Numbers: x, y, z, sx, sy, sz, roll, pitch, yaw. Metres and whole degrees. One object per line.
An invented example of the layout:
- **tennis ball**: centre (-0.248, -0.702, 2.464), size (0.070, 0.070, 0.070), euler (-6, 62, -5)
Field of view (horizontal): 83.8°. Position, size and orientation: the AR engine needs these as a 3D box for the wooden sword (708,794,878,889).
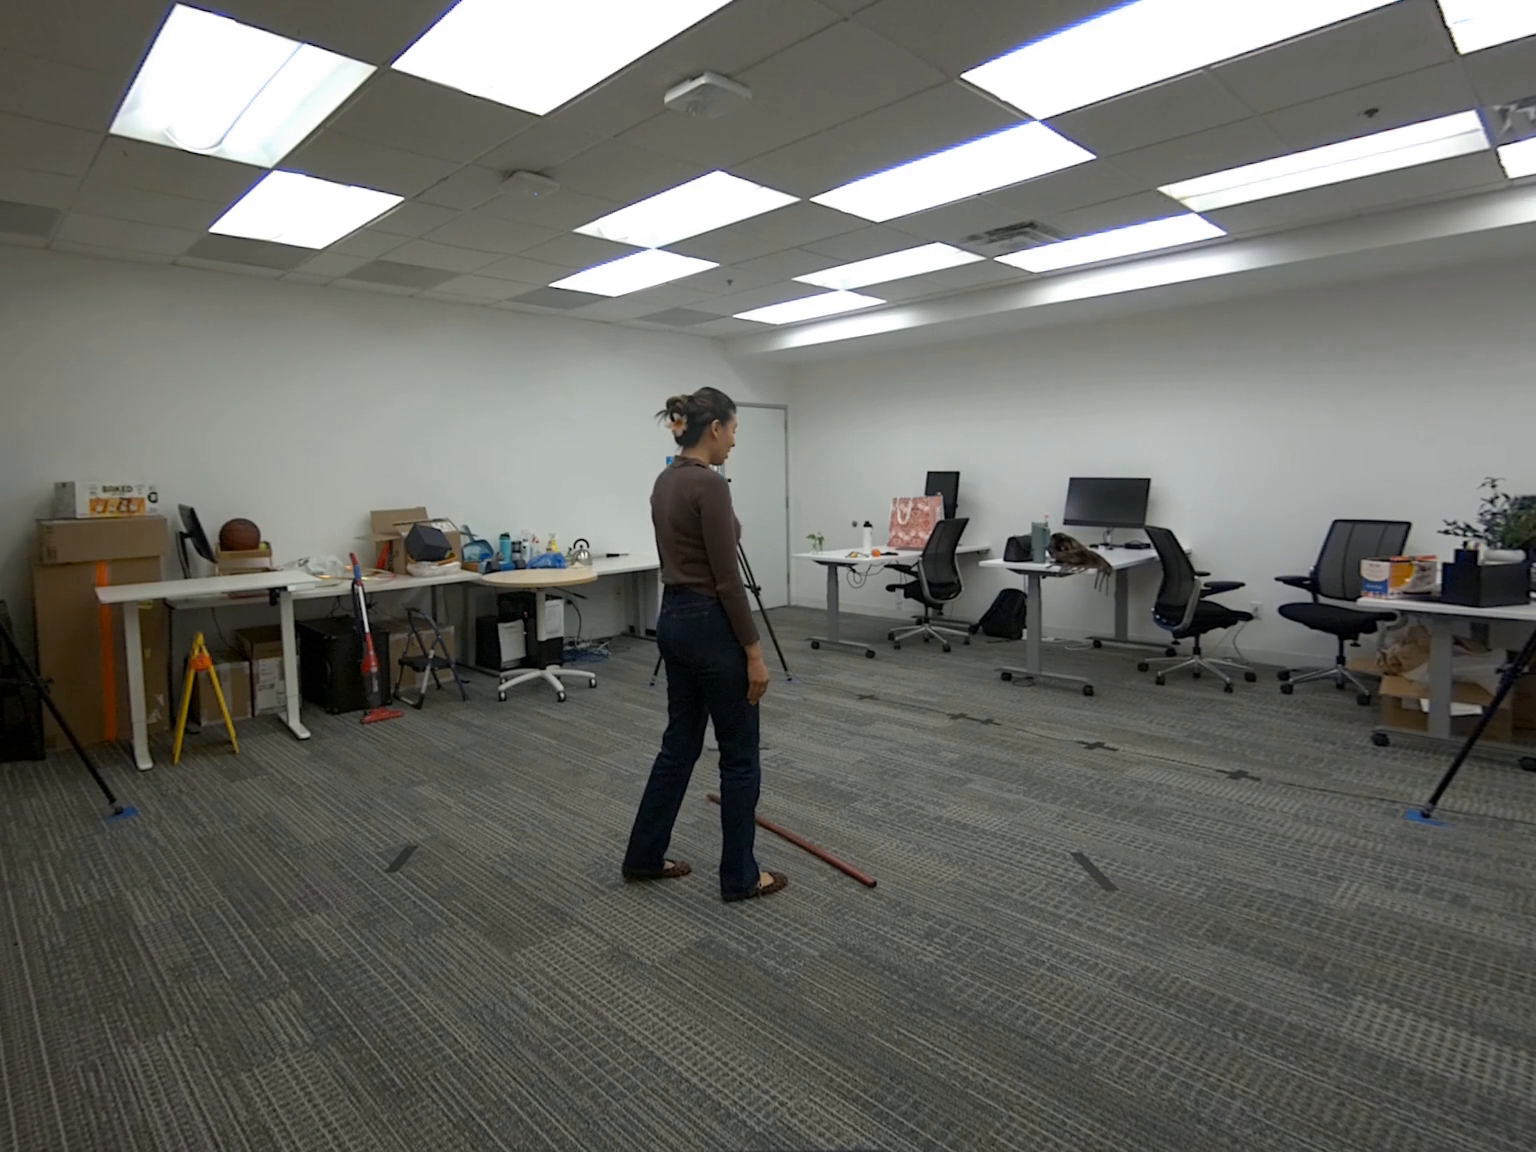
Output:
- **wooden sword**: centre (0.047, 0.995, 3.326), size (0.049, 0.024, 1.055), euler (46, -21, -30)
